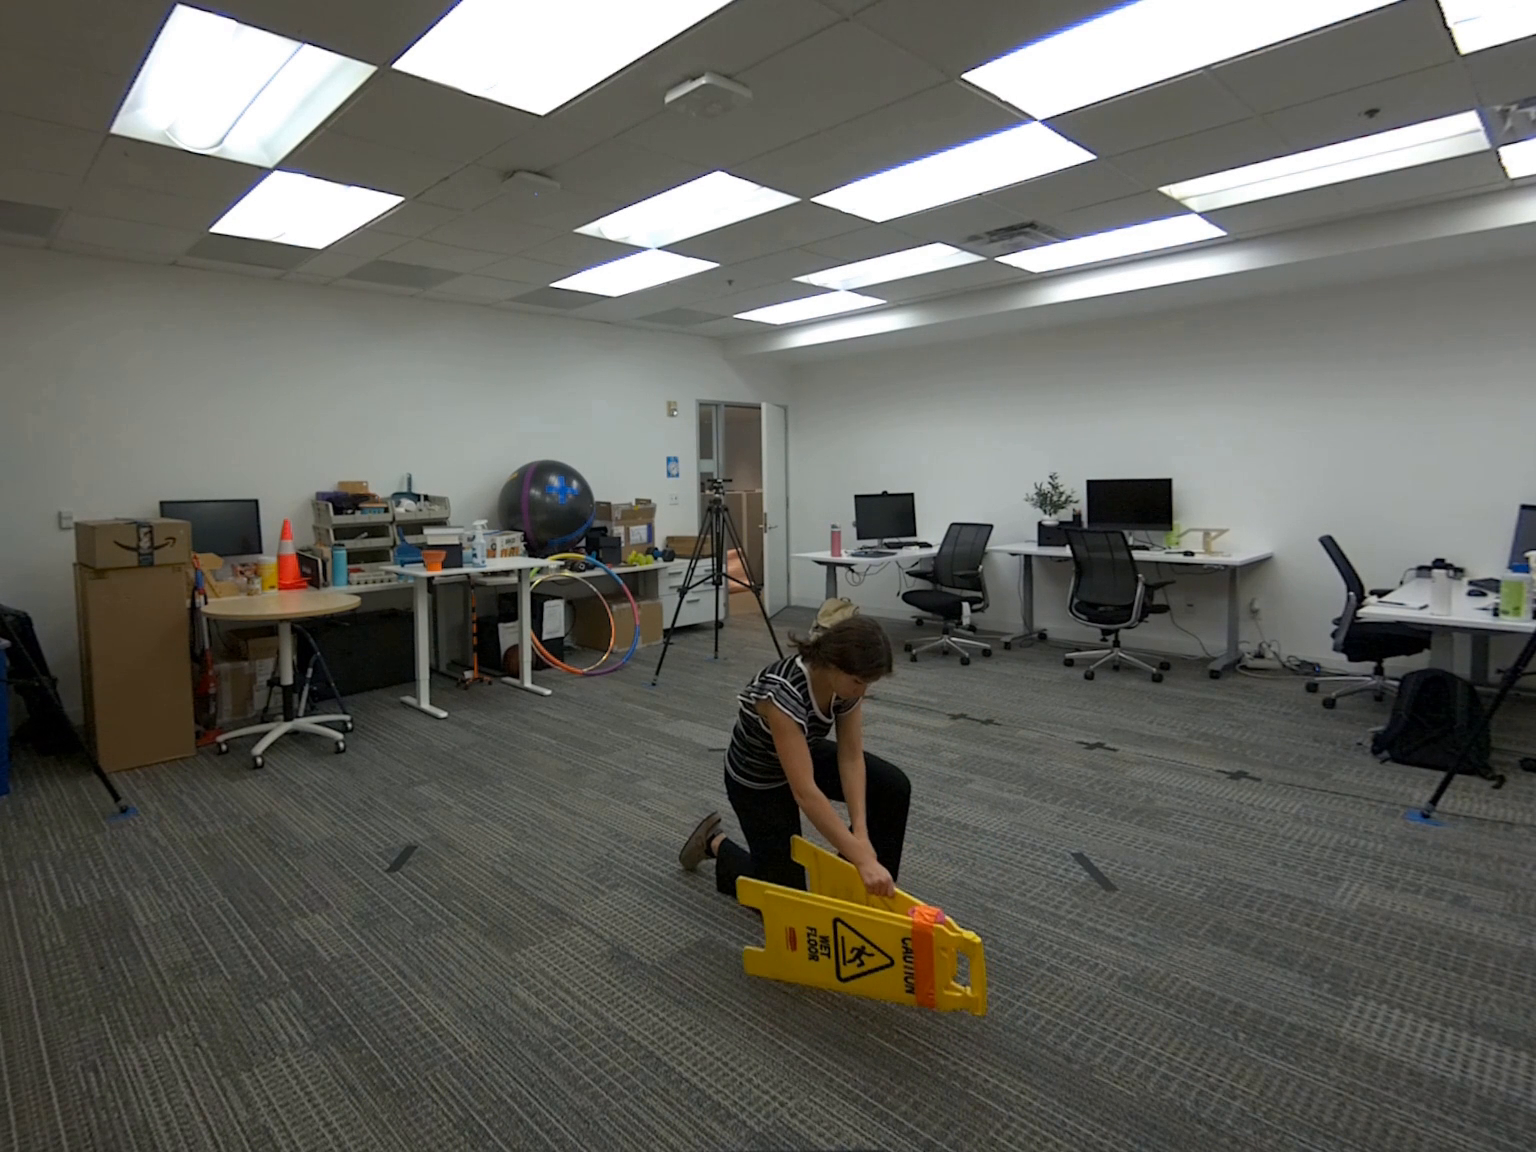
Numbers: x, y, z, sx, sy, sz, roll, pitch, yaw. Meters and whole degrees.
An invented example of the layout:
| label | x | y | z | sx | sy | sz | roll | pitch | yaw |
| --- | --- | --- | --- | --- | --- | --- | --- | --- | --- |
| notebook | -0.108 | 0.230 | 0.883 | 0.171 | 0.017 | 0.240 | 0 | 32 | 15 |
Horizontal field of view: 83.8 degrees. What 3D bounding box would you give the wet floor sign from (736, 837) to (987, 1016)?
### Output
| label | x | y | z | sx | sy | sz | roll | pitch | yaw |
| --- | --- | --- | --- | --- | --- | --- | --- | --- | --- |
| wet floor sign | 0.262 | 0.958 | 2.249 | 0.665 | 0.280 | 0.283 | 2 | 10 | 39 |
